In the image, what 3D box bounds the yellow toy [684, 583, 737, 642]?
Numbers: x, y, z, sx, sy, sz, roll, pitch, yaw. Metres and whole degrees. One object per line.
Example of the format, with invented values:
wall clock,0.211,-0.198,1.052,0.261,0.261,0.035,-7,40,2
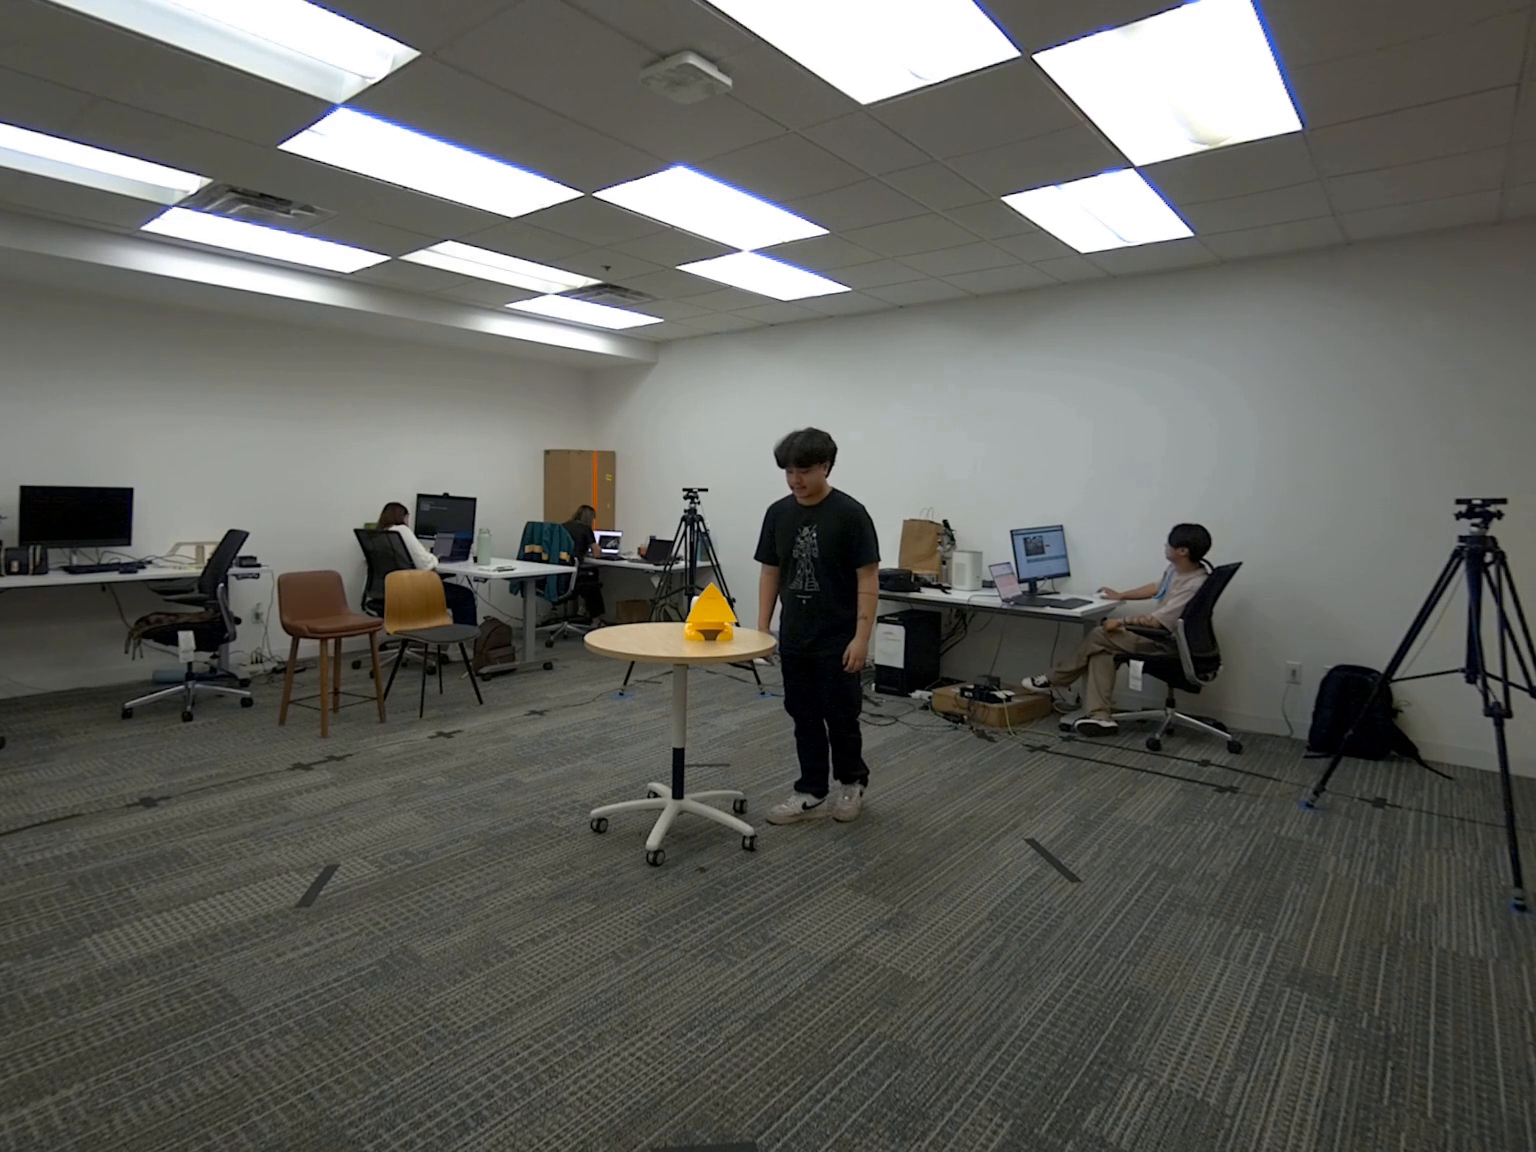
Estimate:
yellow toy,-0.252,0.131,3.422,0.202,0.230,0.196,0,5,-11
